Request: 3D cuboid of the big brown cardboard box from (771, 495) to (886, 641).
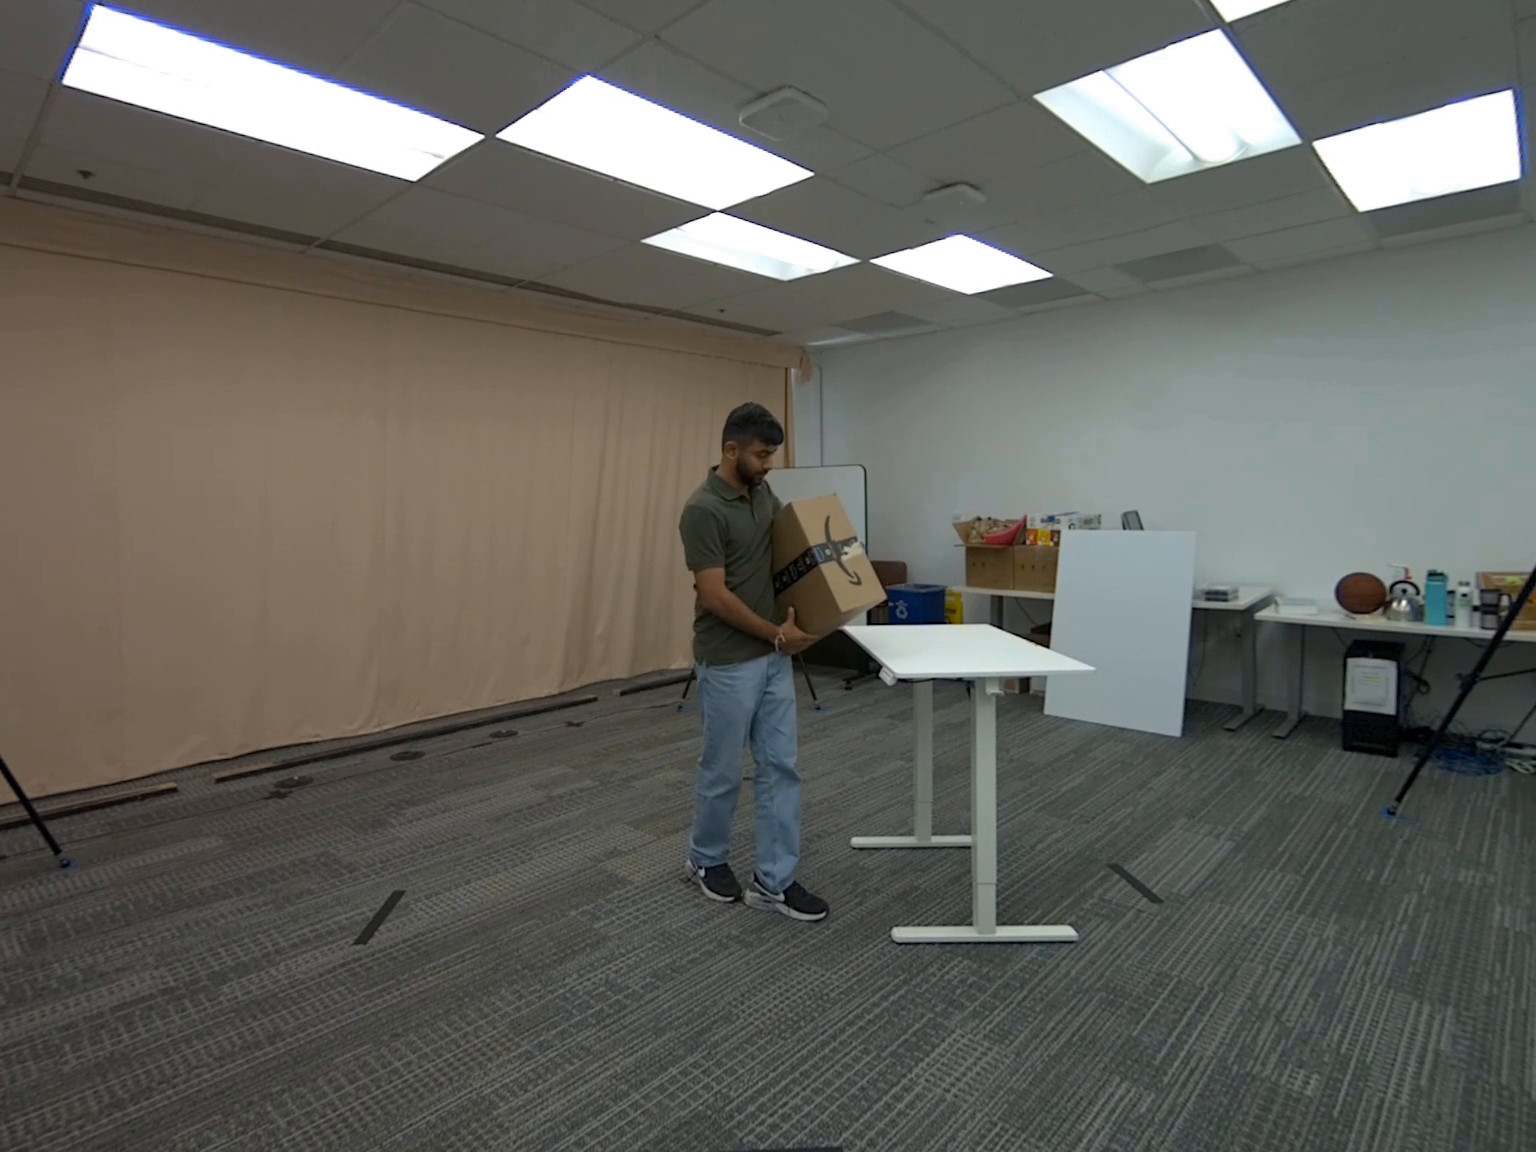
[{"bbox_3d":[0.096,0.026,3.062,0.227,0.423,0.596,-13,-16,-35],"label":"big brown cardboard box"}]
